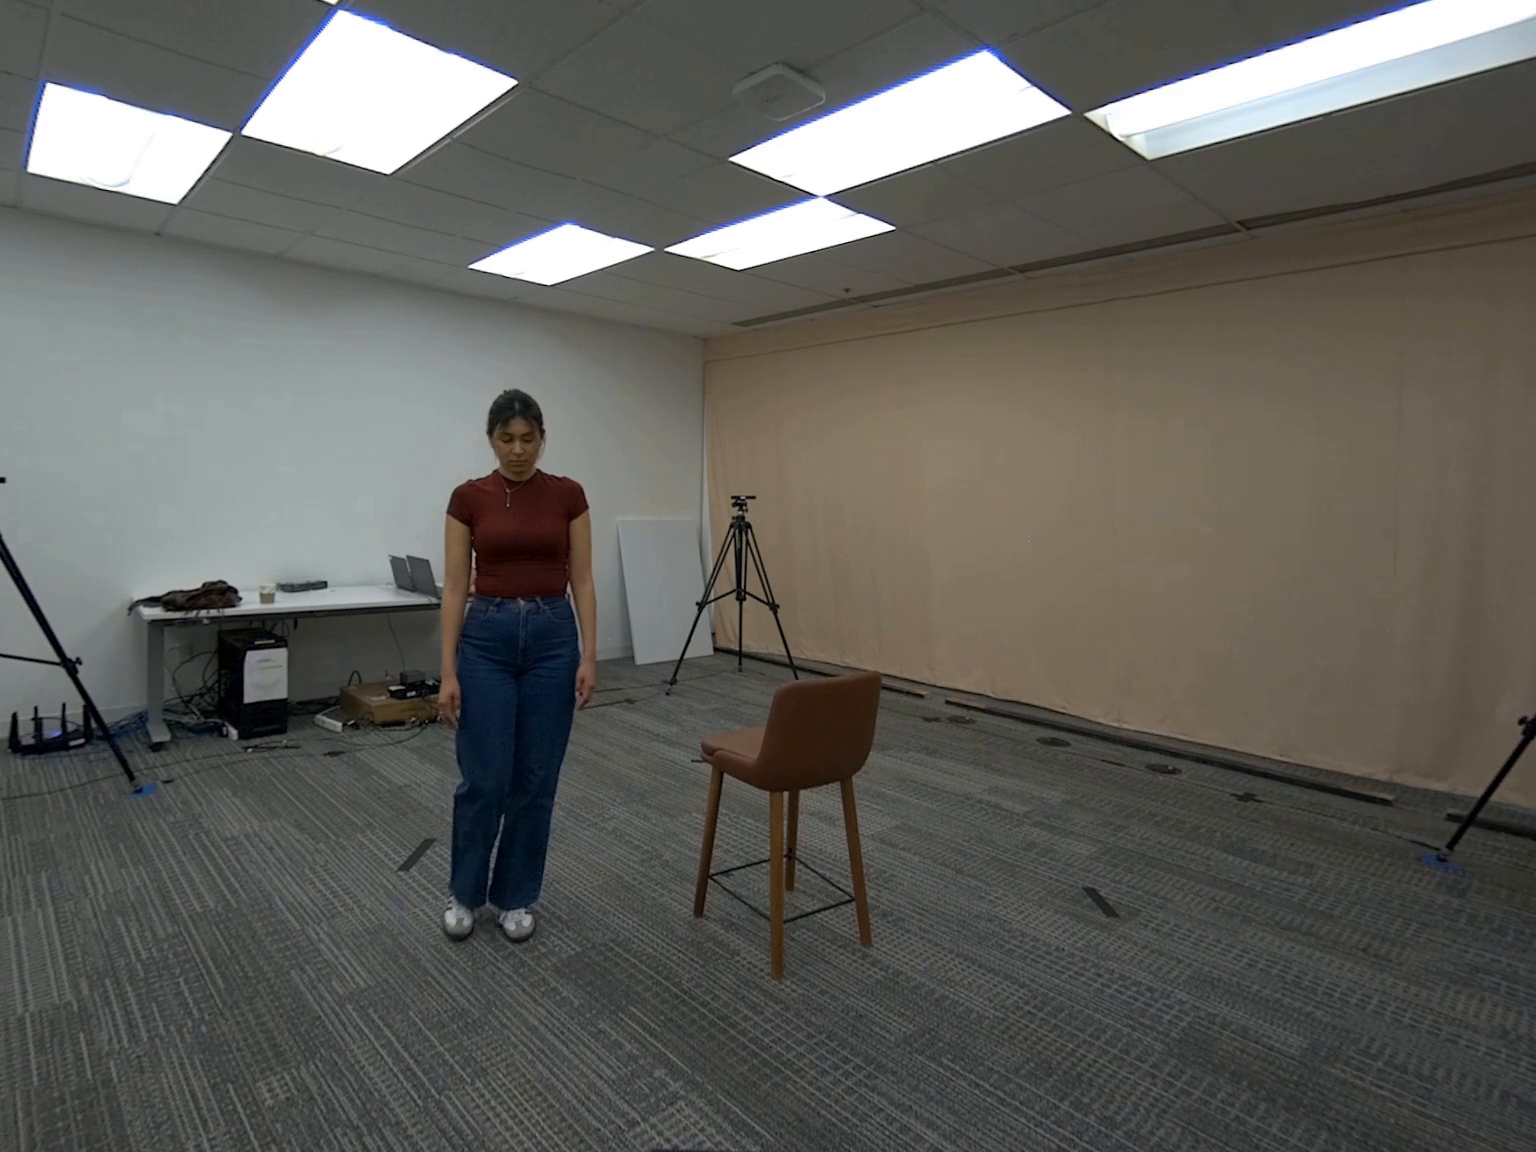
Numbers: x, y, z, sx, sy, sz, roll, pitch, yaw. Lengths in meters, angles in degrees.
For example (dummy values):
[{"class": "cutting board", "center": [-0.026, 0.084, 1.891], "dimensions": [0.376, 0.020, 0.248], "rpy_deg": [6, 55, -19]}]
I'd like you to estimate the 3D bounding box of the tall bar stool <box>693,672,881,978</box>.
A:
[{"class": "tall bar stool", "center": [0.060, 0.714, 2.686], "dimensions": [0.446, 0.886, 0.480], "rpy_deg": [-2, 7, -36]}]
